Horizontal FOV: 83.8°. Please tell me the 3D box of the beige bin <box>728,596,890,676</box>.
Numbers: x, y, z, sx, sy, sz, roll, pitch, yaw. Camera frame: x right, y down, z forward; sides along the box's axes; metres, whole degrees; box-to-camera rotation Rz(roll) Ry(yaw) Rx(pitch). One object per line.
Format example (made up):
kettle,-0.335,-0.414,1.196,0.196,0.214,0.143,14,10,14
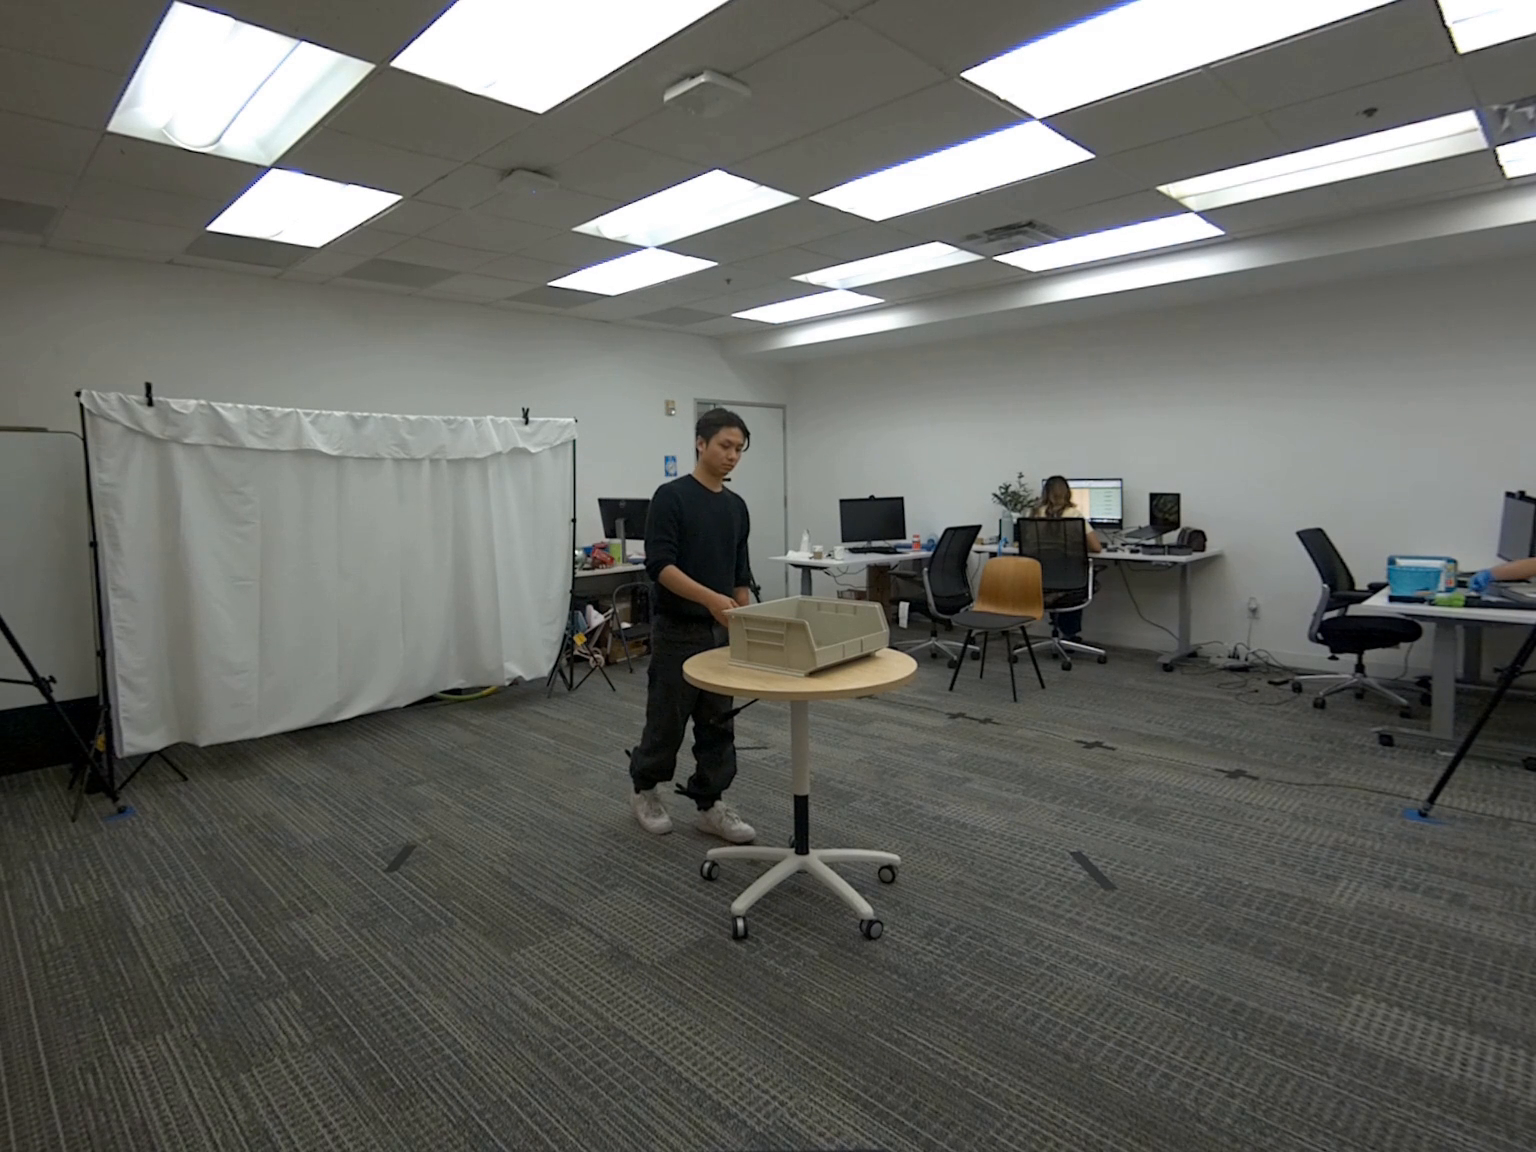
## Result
beige bin,0.127,0.192,2.850,0.388,0.188,0.412,3,7,41
